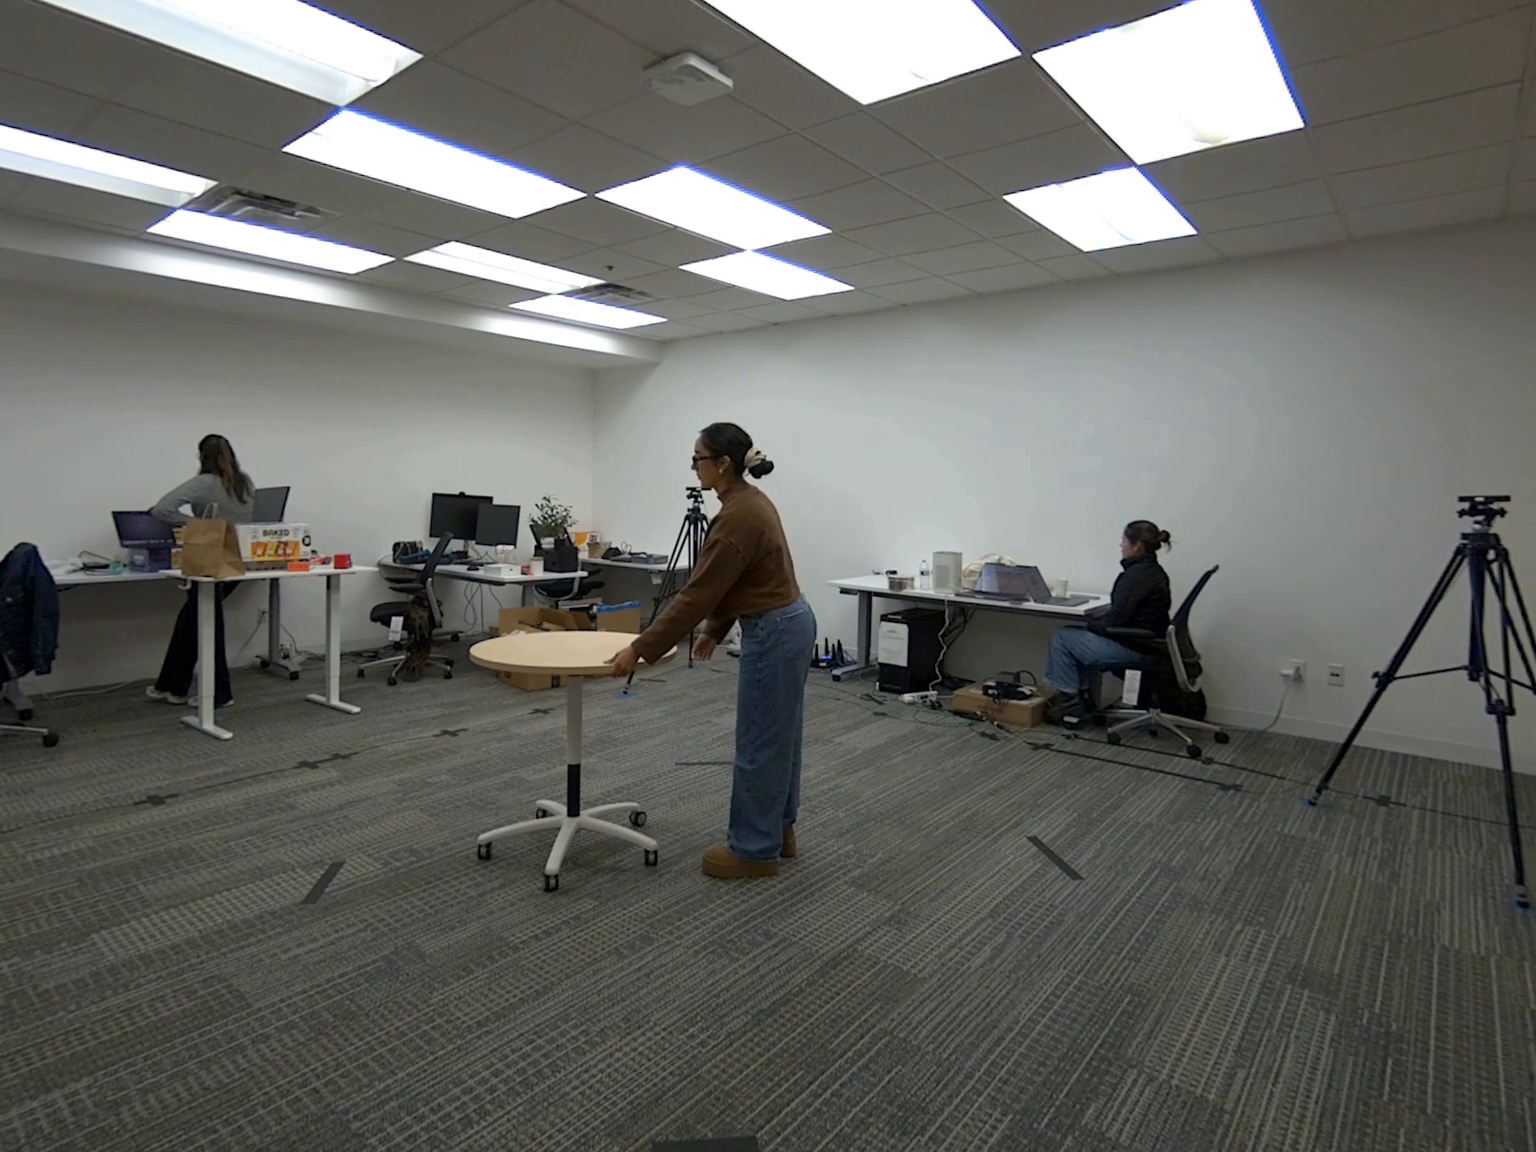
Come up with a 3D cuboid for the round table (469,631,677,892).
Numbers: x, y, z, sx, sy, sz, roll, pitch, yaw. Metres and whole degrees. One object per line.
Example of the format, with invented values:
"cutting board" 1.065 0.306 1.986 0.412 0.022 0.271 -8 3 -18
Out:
"round table" -0.754 0.654 3.237 0.784 0.784 0.789 1 4 -2
